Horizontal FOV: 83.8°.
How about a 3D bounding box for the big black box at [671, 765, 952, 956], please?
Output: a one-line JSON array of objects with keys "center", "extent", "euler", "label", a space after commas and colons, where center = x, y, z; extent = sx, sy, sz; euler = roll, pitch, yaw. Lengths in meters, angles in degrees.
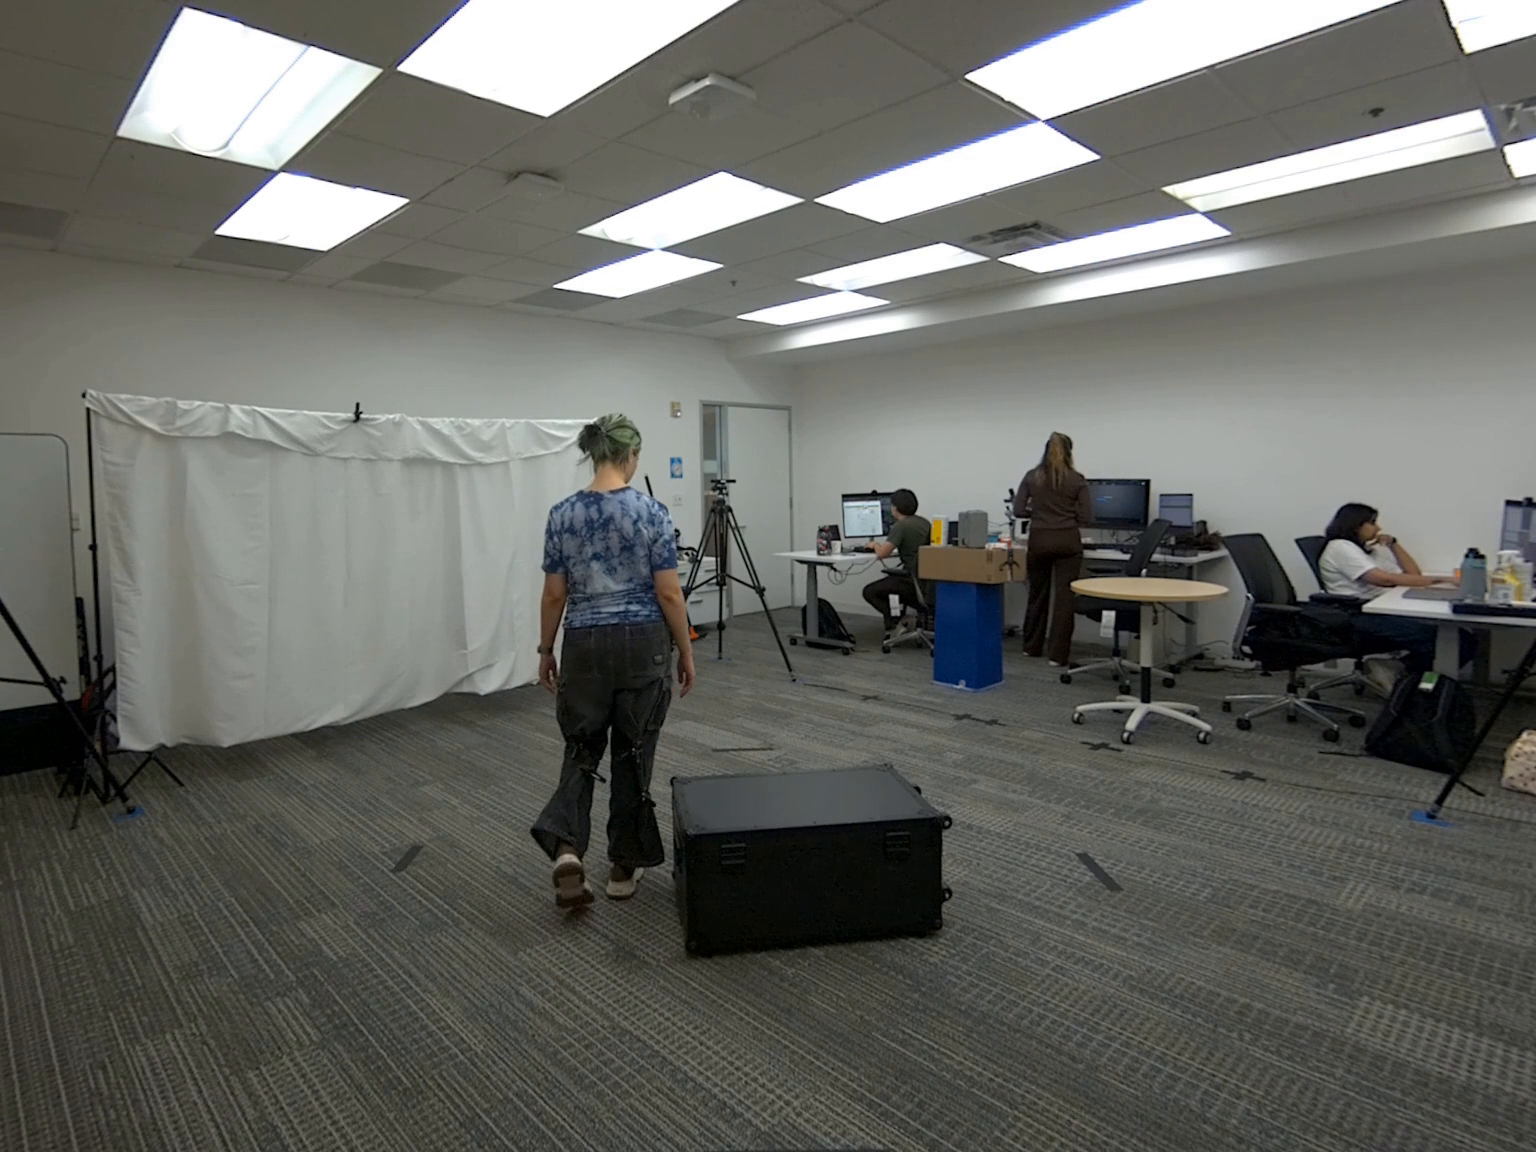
[{"center": [0.070, 0.889, 2.758], "extent": [0.854, 0.395, 0.528], "euler": [-2, 5, -9], "label": "big black box"}]
